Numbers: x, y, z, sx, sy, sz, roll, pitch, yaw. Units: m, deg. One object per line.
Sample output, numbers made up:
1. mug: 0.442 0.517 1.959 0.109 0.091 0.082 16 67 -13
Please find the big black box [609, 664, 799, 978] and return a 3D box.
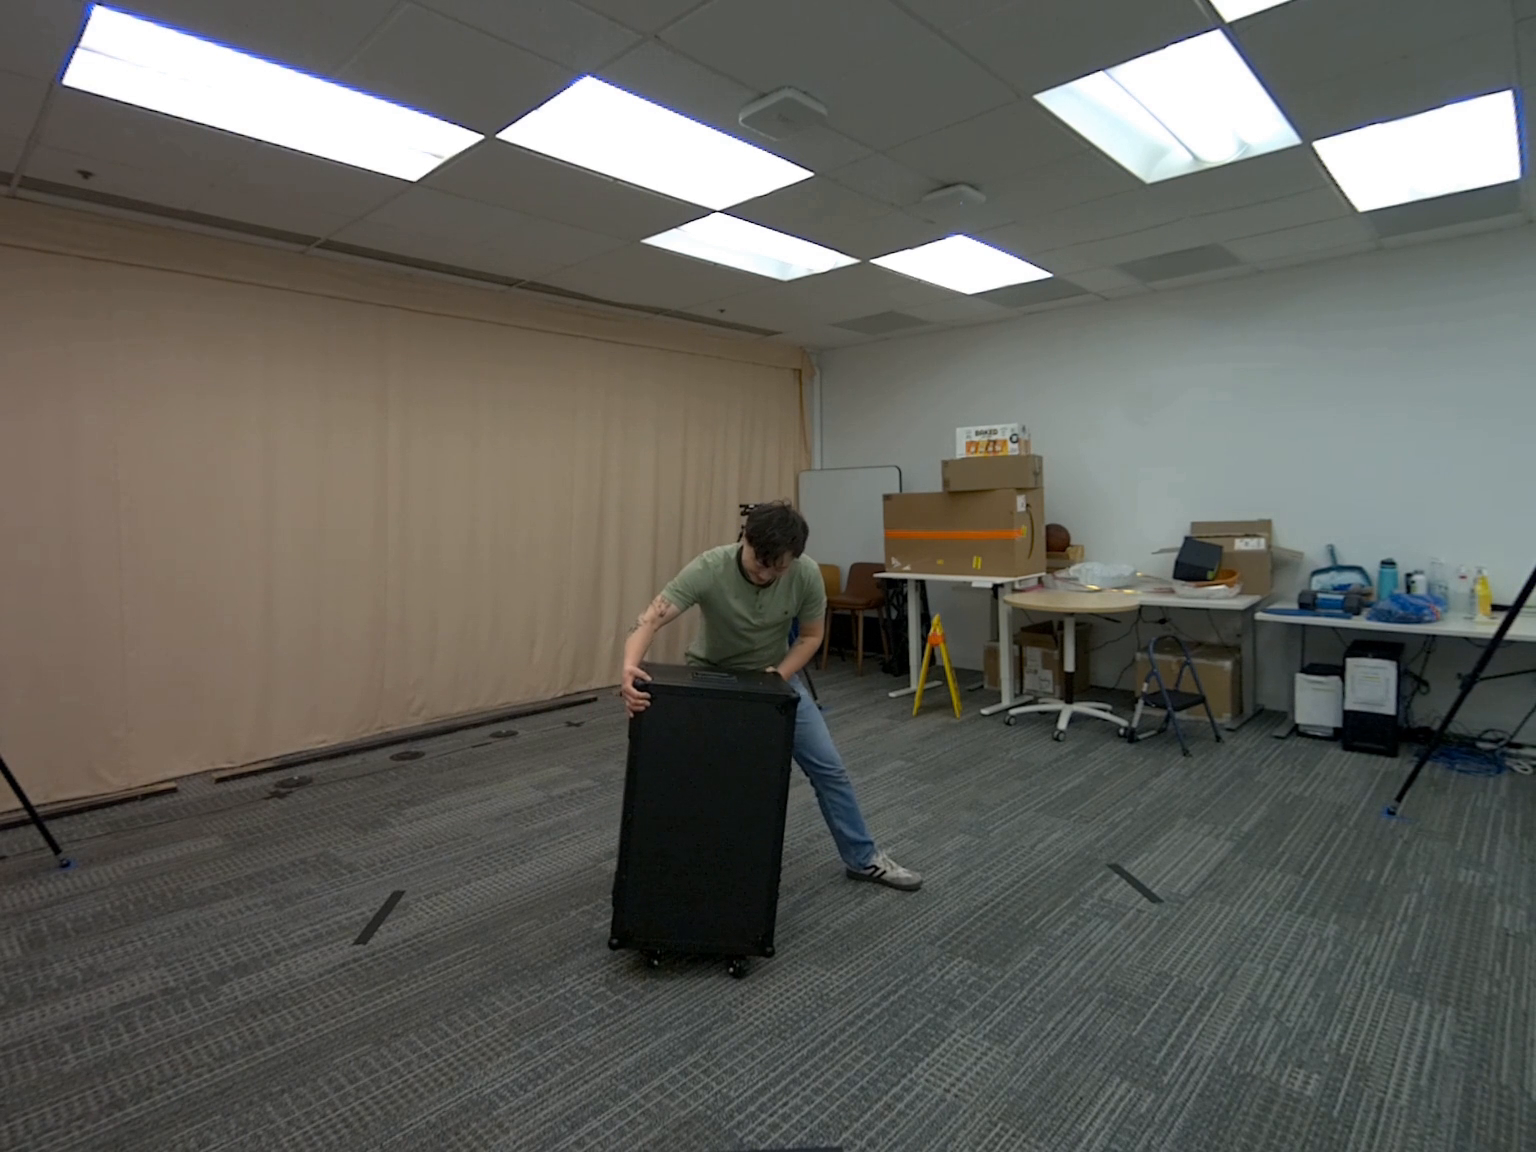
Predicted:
1. big black box: -0.214 0.736 2.628 0.519 0.861 0.398 6 1 -5
